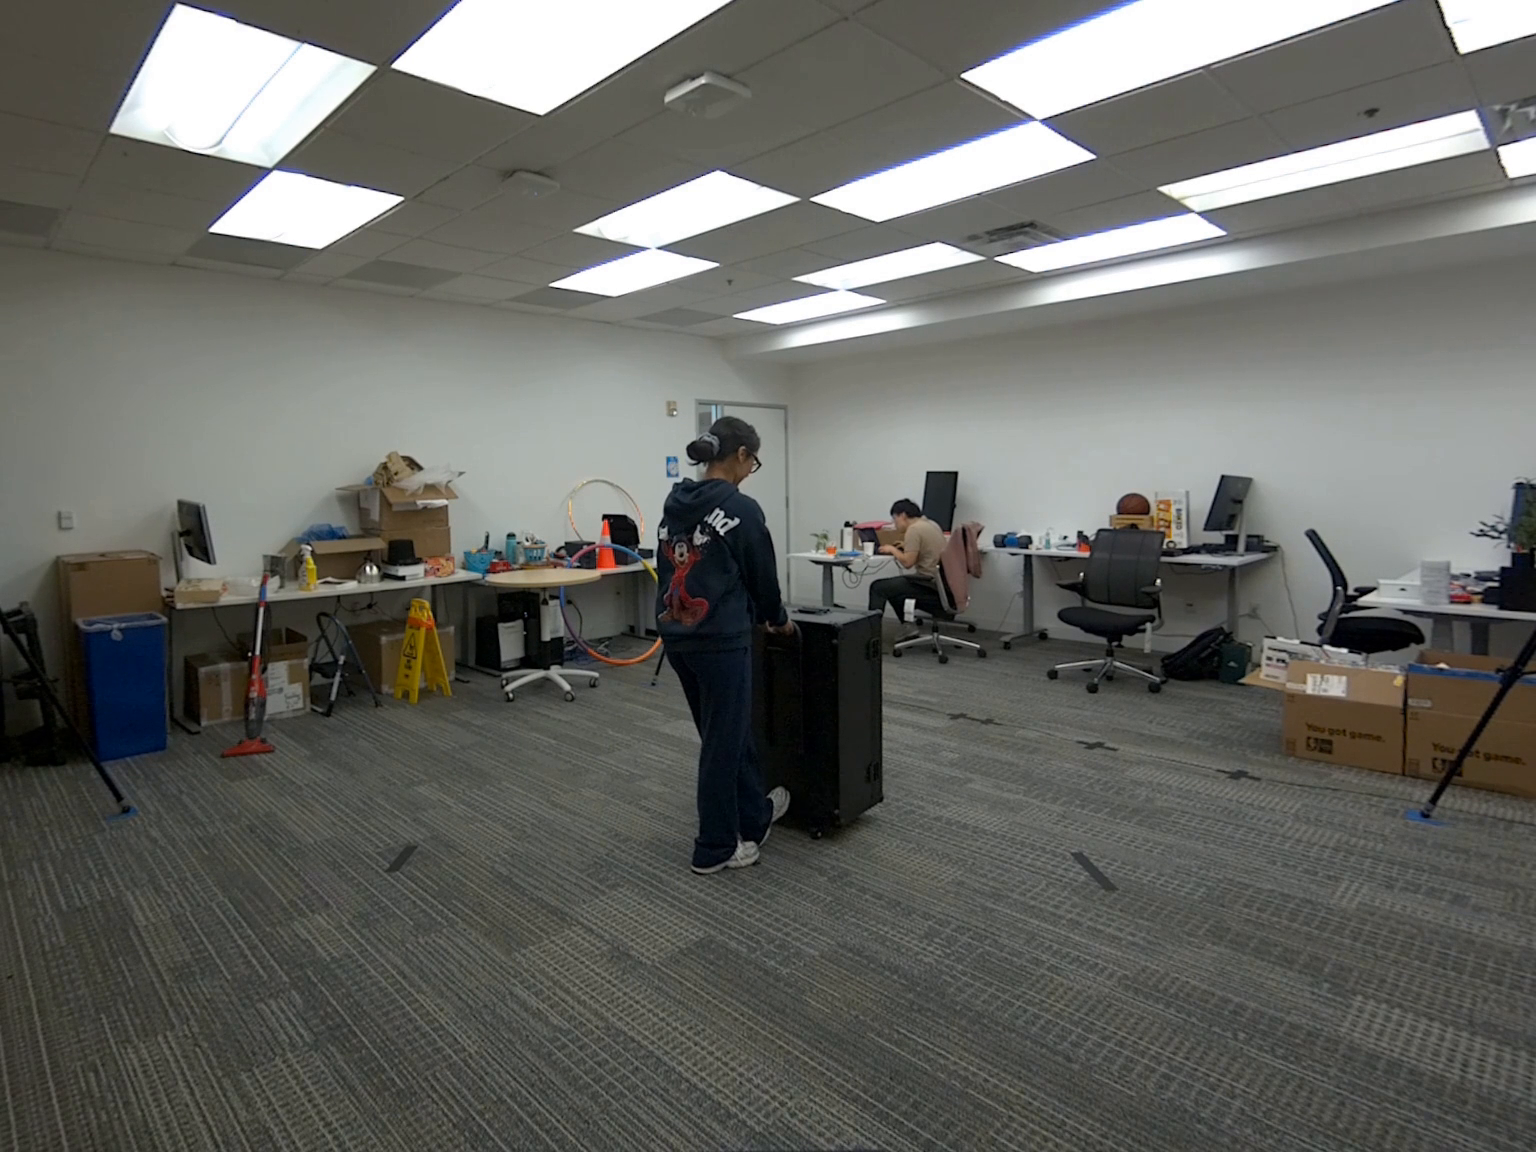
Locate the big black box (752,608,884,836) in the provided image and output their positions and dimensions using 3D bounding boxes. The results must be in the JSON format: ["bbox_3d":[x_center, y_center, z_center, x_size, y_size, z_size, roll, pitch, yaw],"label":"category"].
[{"bbox_3d":[0.169,0.580,3.488,0.408,0.858,0.508,3,5,34],"label":"big black box"}]
